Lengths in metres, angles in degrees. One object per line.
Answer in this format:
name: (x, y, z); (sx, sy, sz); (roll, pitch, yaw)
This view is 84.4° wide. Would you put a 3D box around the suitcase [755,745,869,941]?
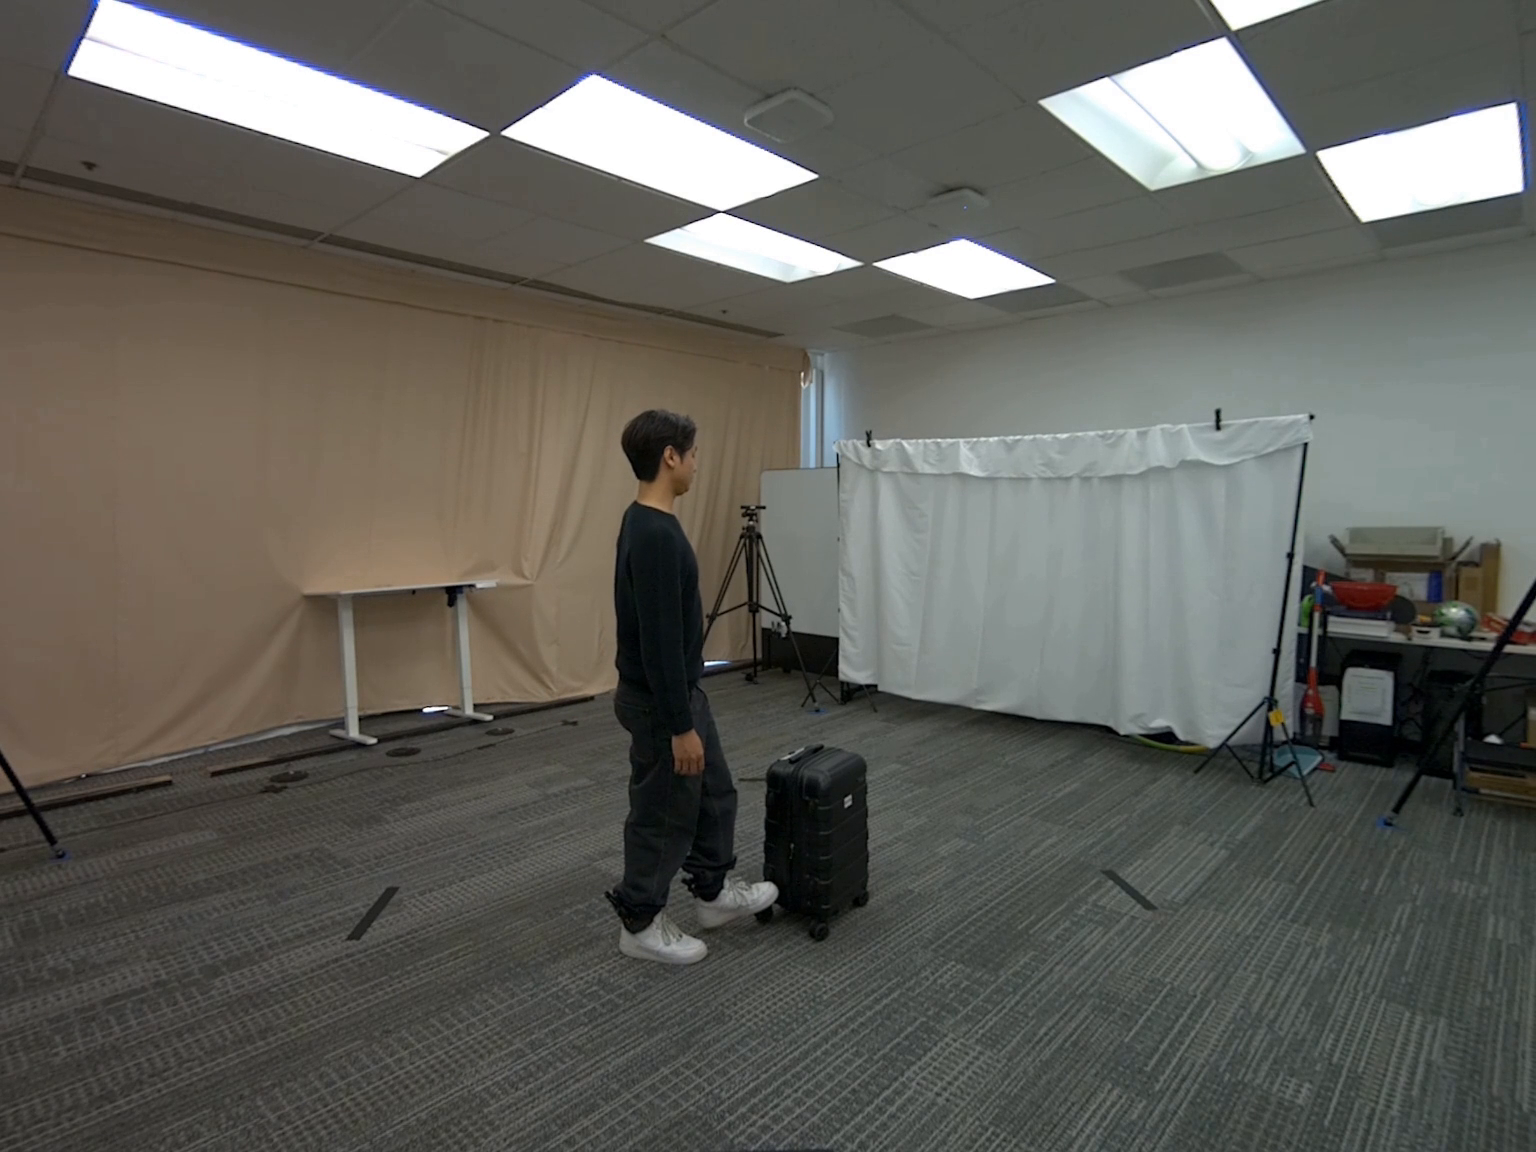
suitcase: (0.176, 0.877, 2.887); (0.256, 0.548, 0.365); (3, 4, 32)
